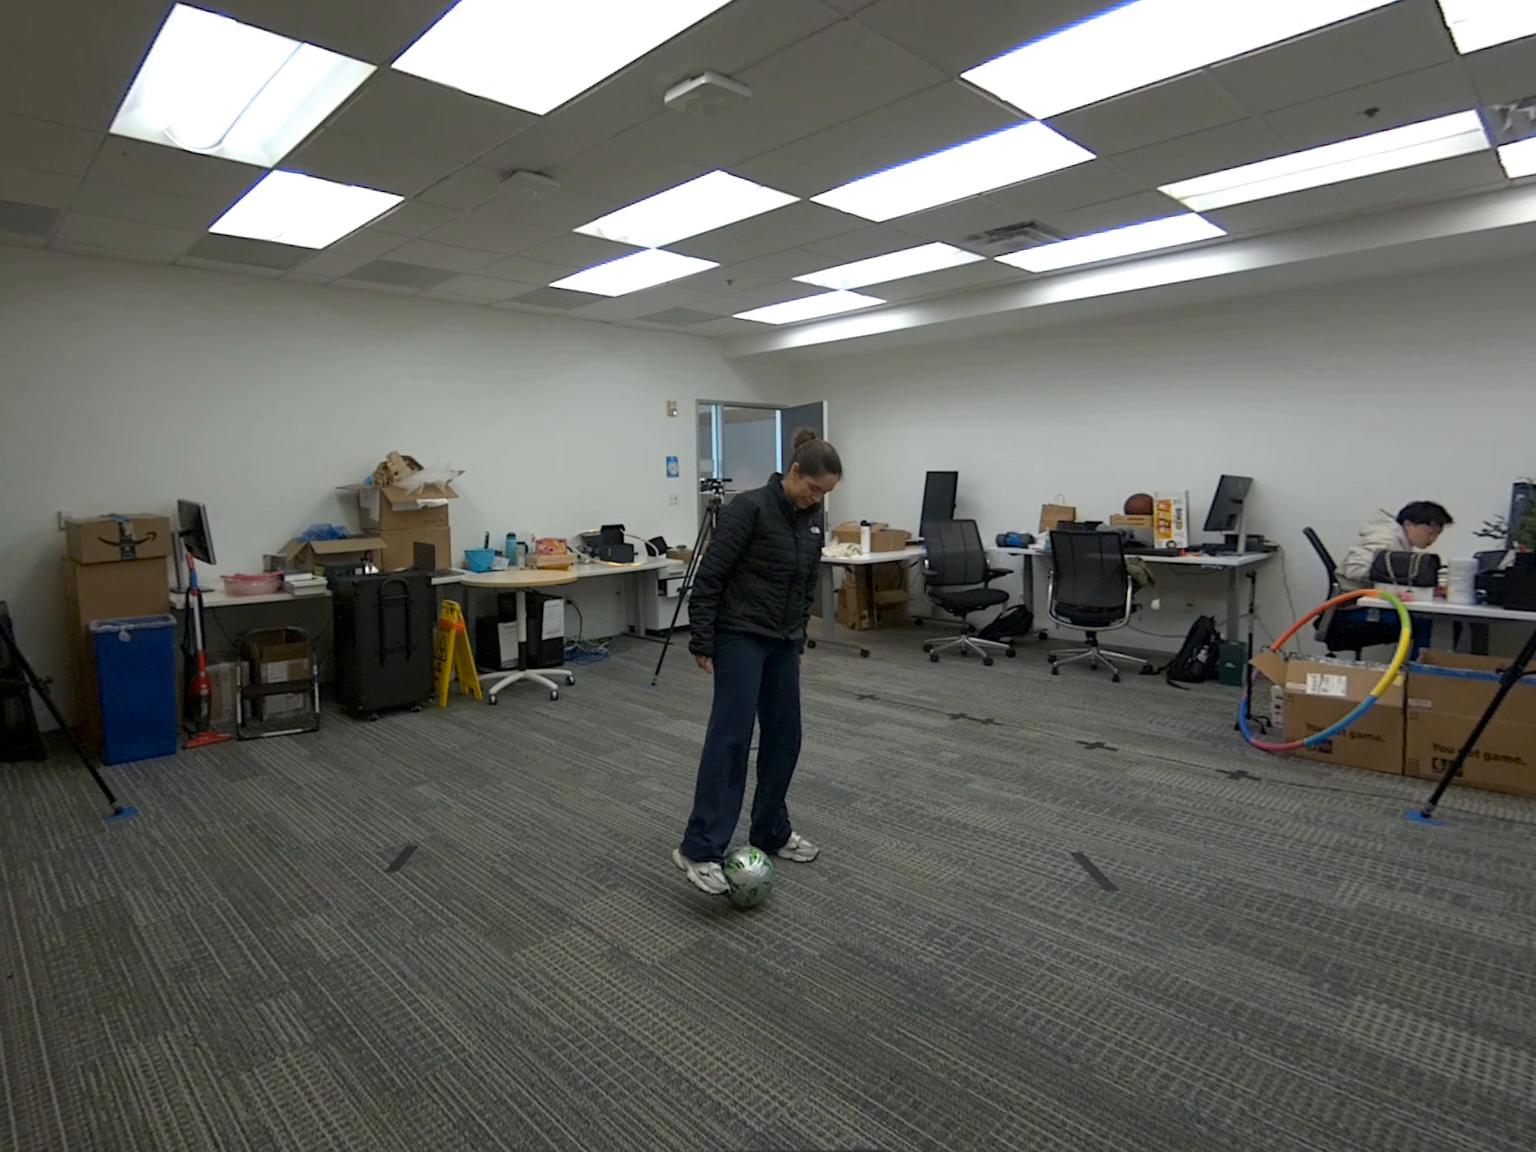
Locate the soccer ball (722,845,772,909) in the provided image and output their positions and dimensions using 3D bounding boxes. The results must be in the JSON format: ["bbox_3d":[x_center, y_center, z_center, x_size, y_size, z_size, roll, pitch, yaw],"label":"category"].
[{"bbox_3d":[-0.061,0.982,2.811,0.187,0.187,0.188,-1,5,-2],"label":"soccer ball"}]
